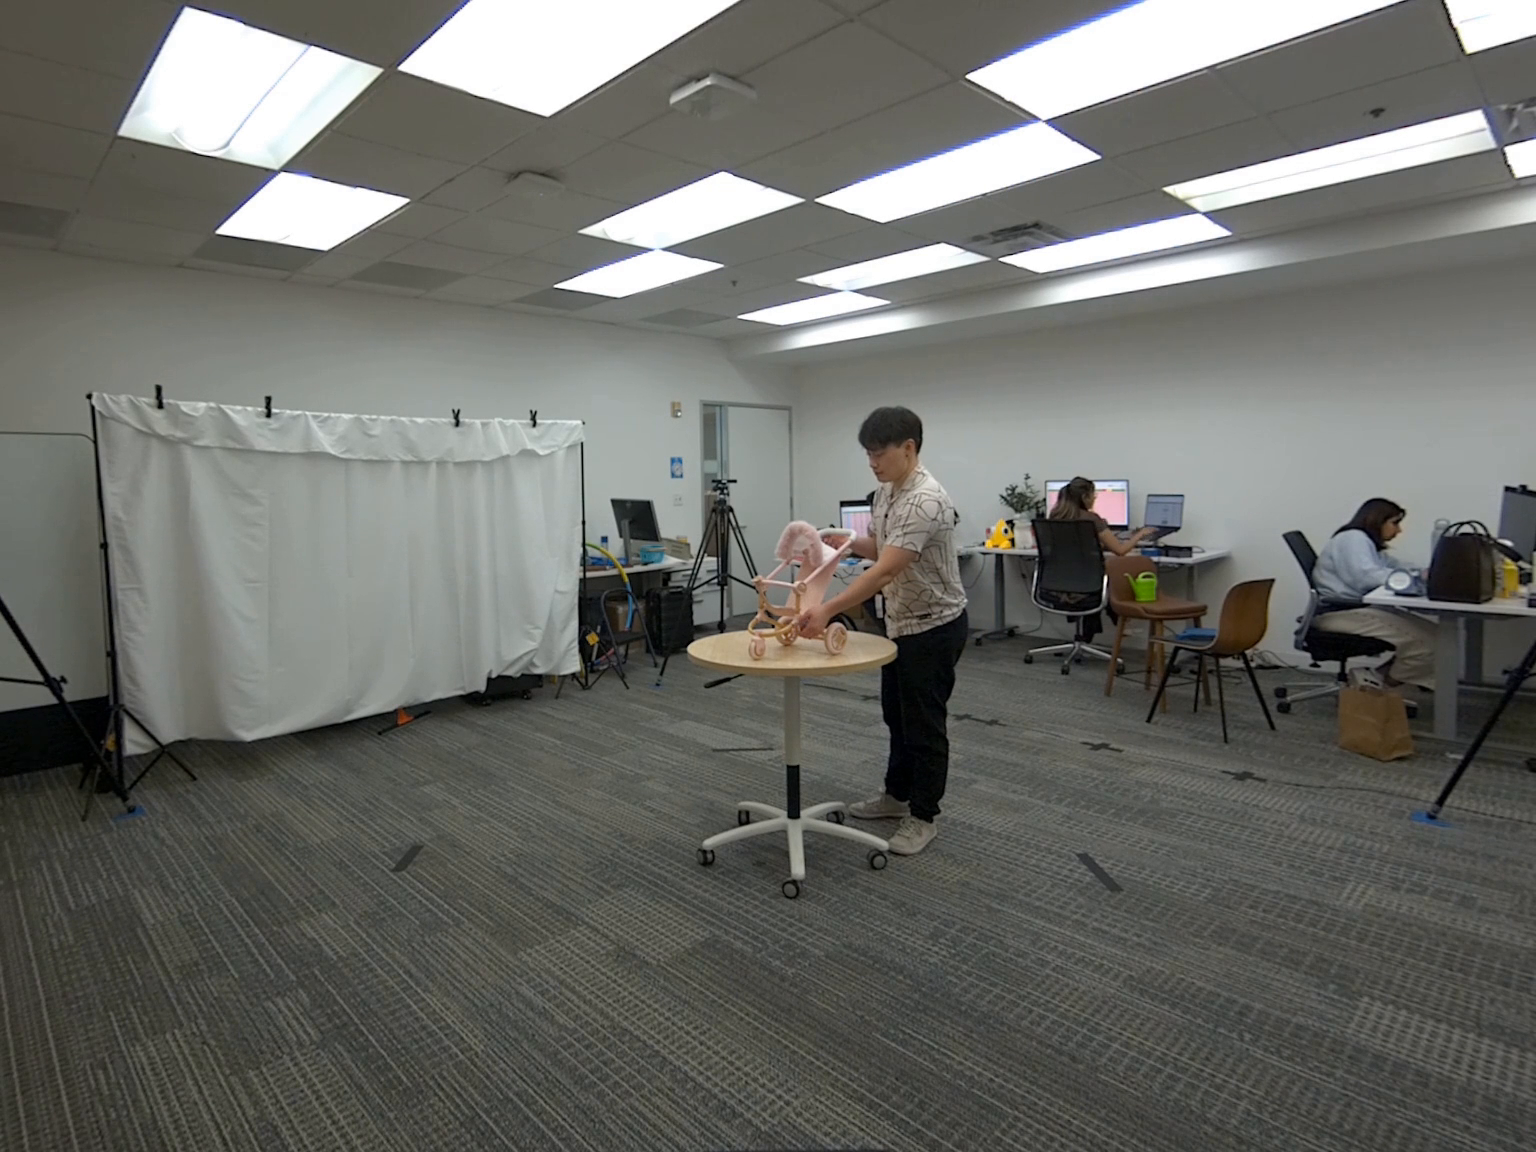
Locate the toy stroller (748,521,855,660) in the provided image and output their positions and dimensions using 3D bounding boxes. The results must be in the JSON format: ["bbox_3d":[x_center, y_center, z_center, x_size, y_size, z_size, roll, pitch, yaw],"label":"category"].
[{"bbox_3d":[0.105,0.048,3.016,0.330,0.537,0.289,16,-8,-36],"label":"toy stroller"}]
